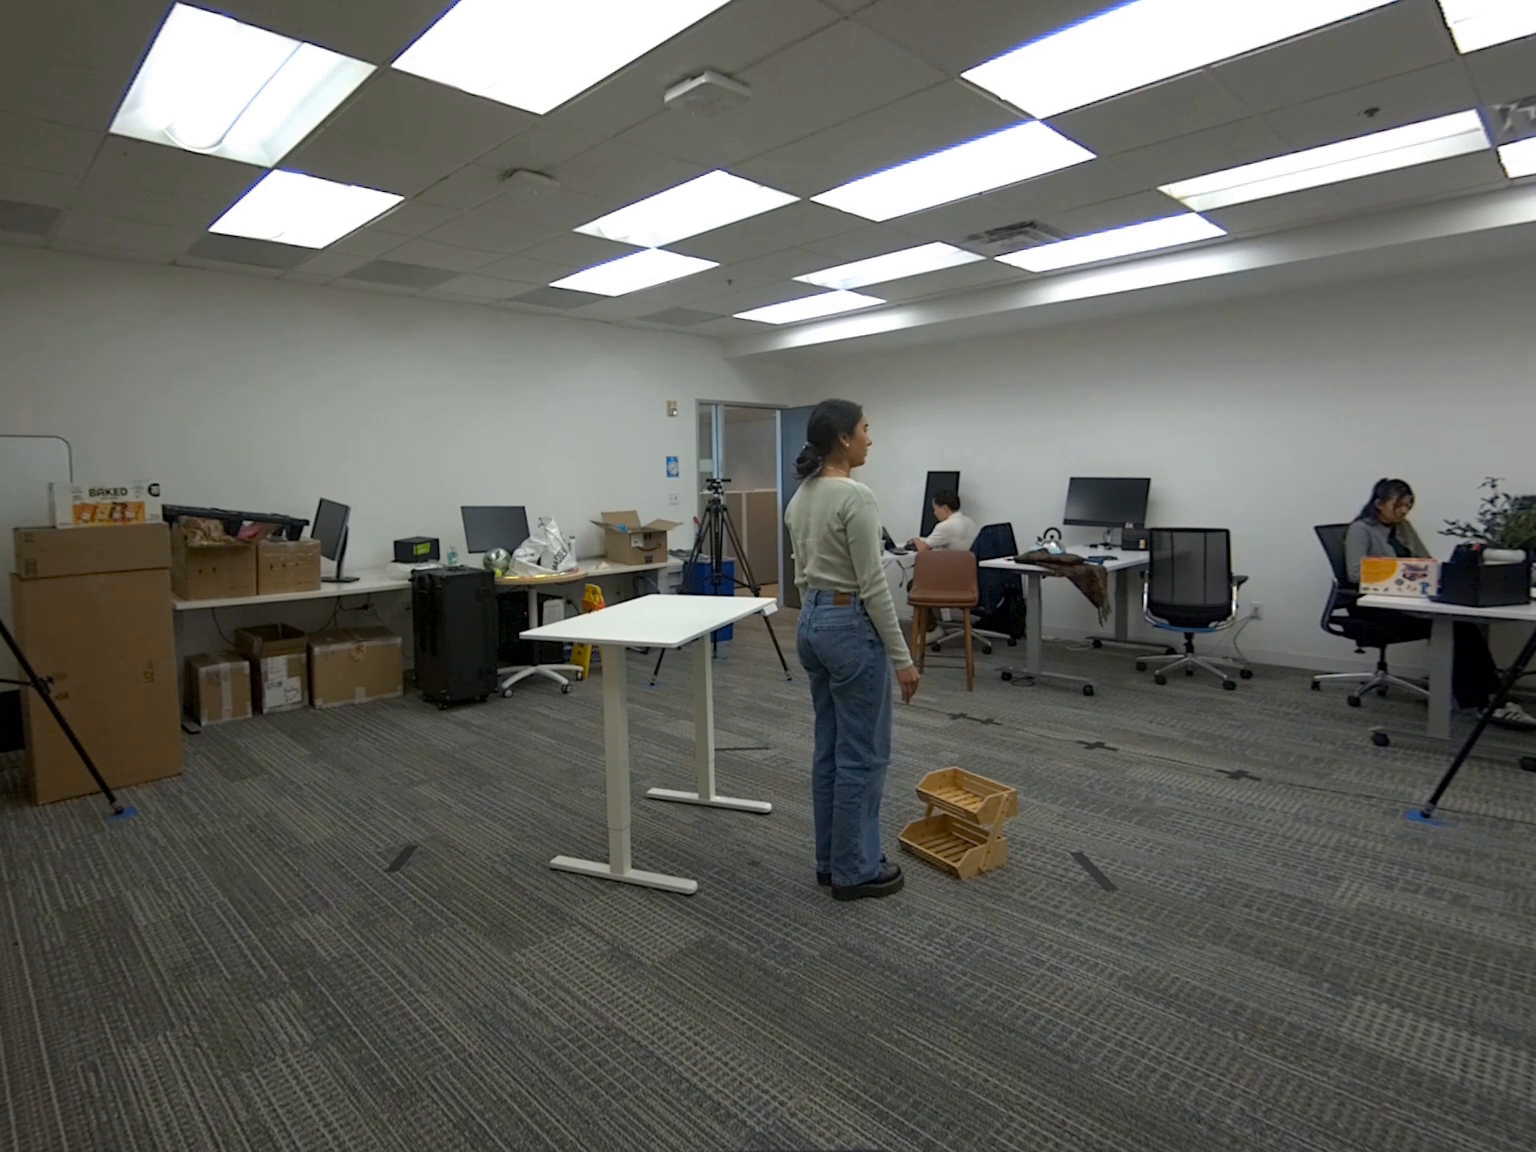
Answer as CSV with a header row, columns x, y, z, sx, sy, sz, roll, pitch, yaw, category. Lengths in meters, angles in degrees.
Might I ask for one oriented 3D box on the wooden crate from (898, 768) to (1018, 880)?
x,y,z,sx,sy,sz,roll,pitch,yaw,category
0.699,0.894,3.139,0.294,0.272,0.334,-3,5,-33,wooden crate
